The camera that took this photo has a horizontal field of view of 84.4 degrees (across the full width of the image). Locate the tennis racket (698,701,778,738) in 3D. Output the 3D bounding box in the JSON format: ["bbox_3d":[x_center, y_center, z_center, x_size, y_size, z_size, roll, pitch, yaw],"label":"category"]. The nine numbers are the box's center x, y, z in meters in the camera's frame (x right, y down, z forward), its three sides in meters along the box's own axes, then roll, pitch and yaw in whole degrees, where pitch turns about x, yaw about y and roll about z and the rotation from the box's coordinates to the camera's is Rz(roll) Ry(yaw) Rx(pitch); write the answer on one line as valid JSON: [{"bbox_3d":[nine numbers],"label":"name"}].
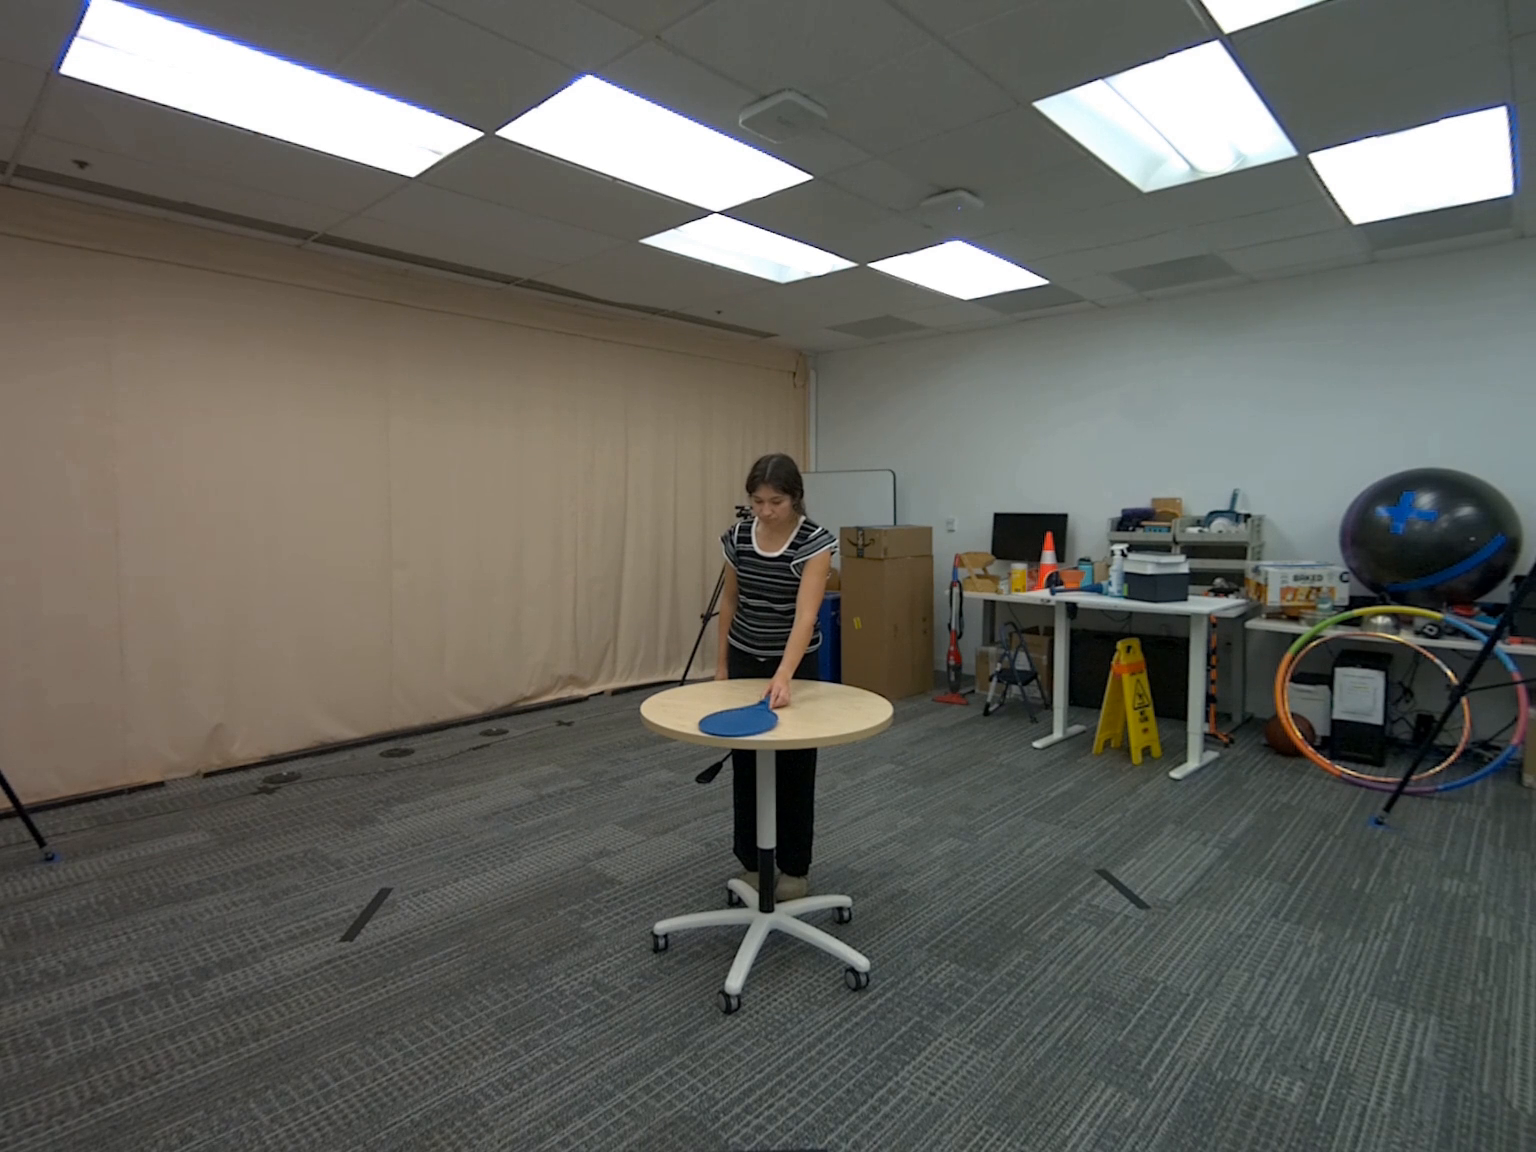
[{"bbox_3d":[-0.042,0.400,2.417,0.218,0.031,0.425,2,6,20],"label":"tennis racket"}]
